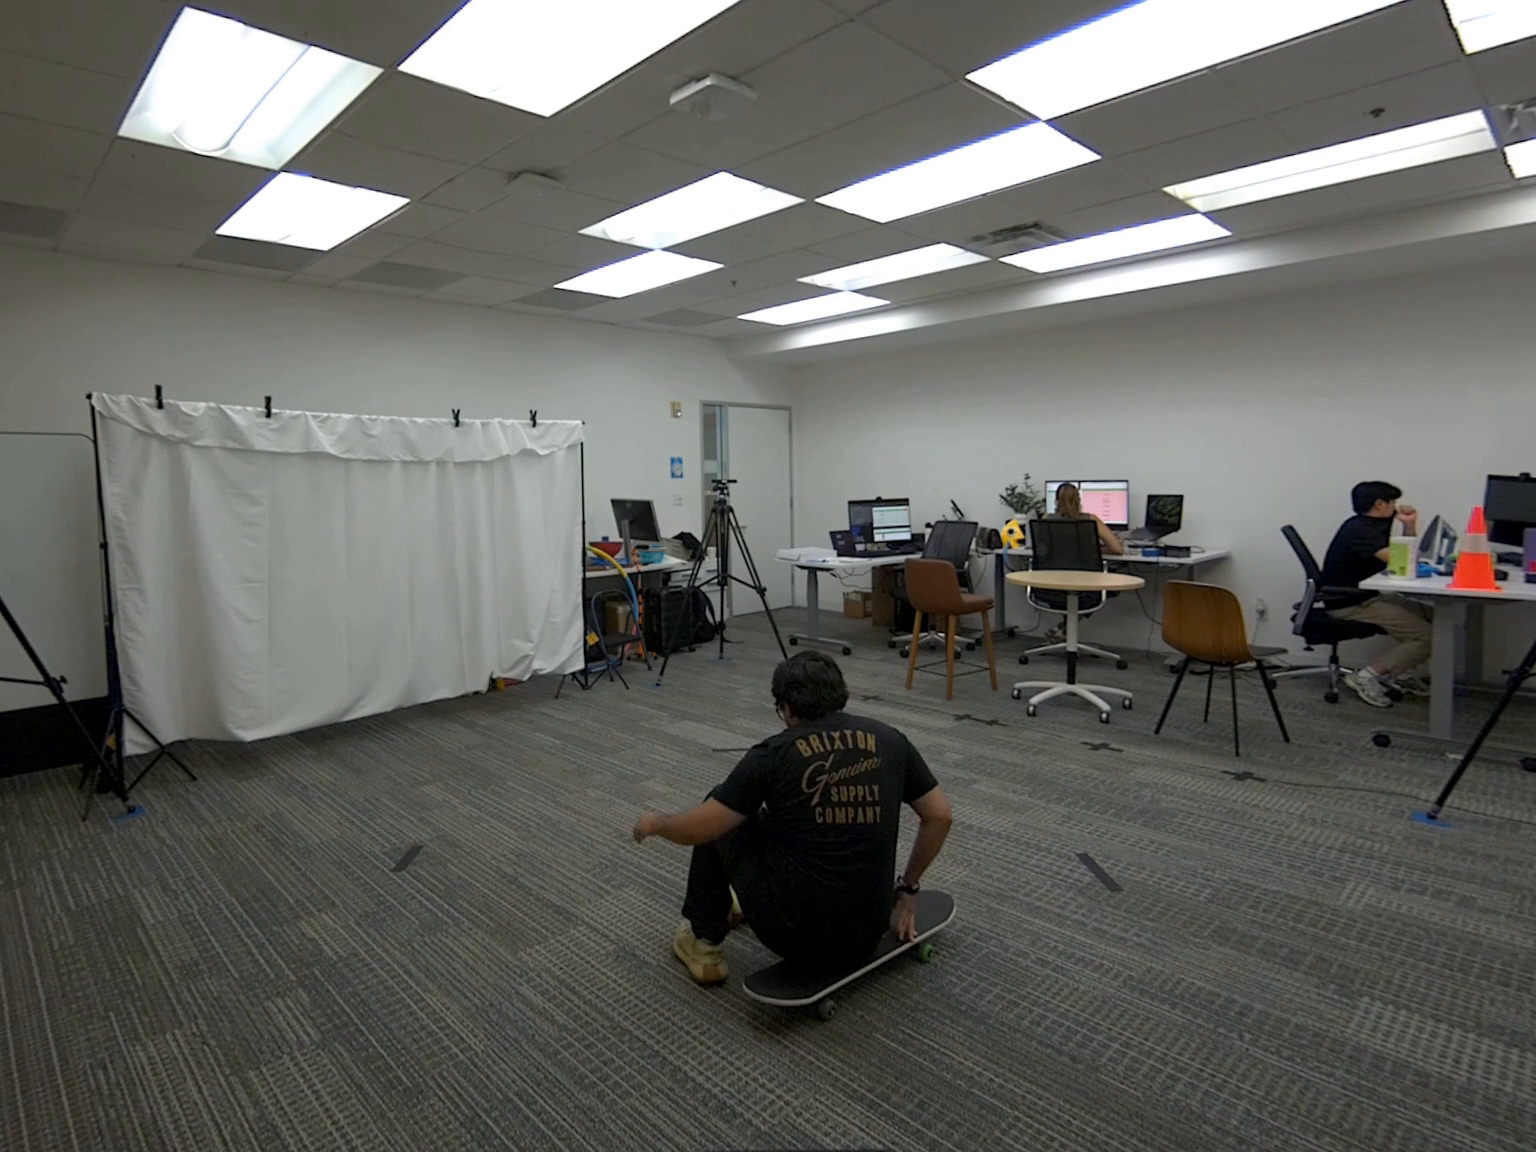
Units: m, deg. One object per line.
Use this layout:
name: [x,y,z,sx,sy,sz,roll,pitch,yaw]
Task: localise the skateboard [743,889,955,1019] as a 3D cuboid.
skateboard: [0.256,1.061,2.402,0.765,0.110,0.199,-7,5,-39]
